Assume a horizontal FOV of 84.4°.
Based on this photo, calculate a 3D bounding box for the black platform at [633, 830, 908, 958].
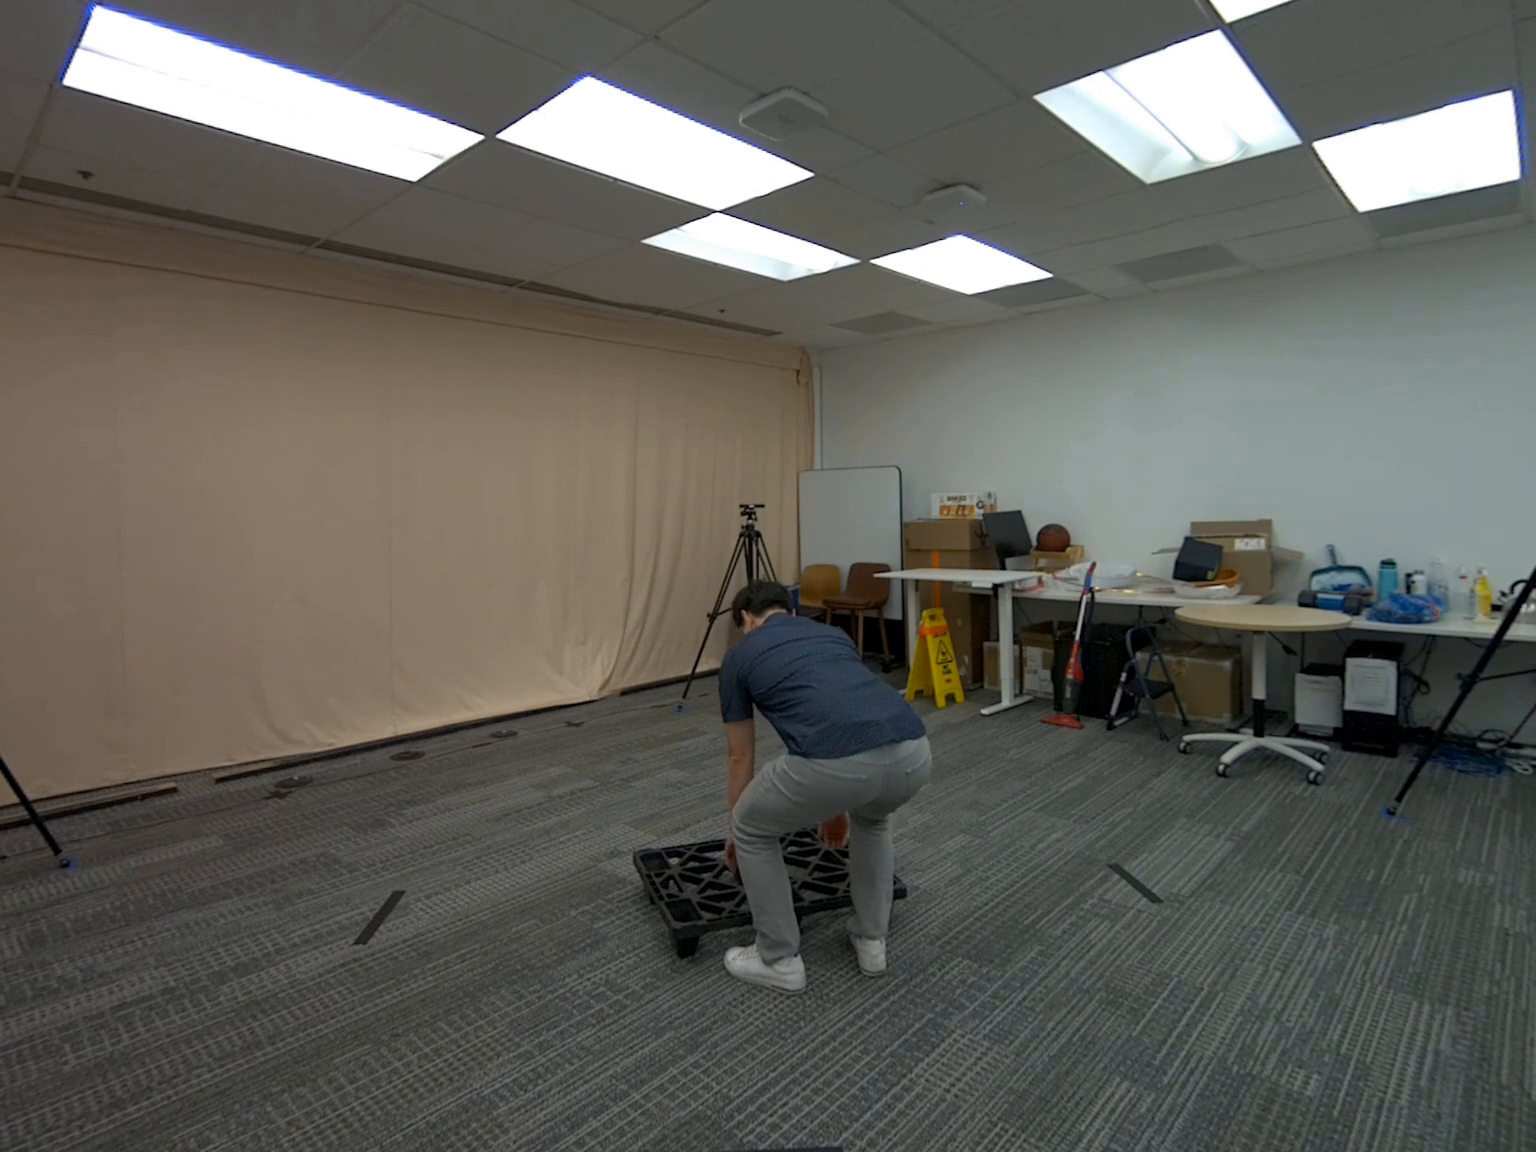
[{"bbox_3d":[-0.018,1.076,2.922,0.791,0.143,0.618,-3,4,-19],"label":"black platform"}]
